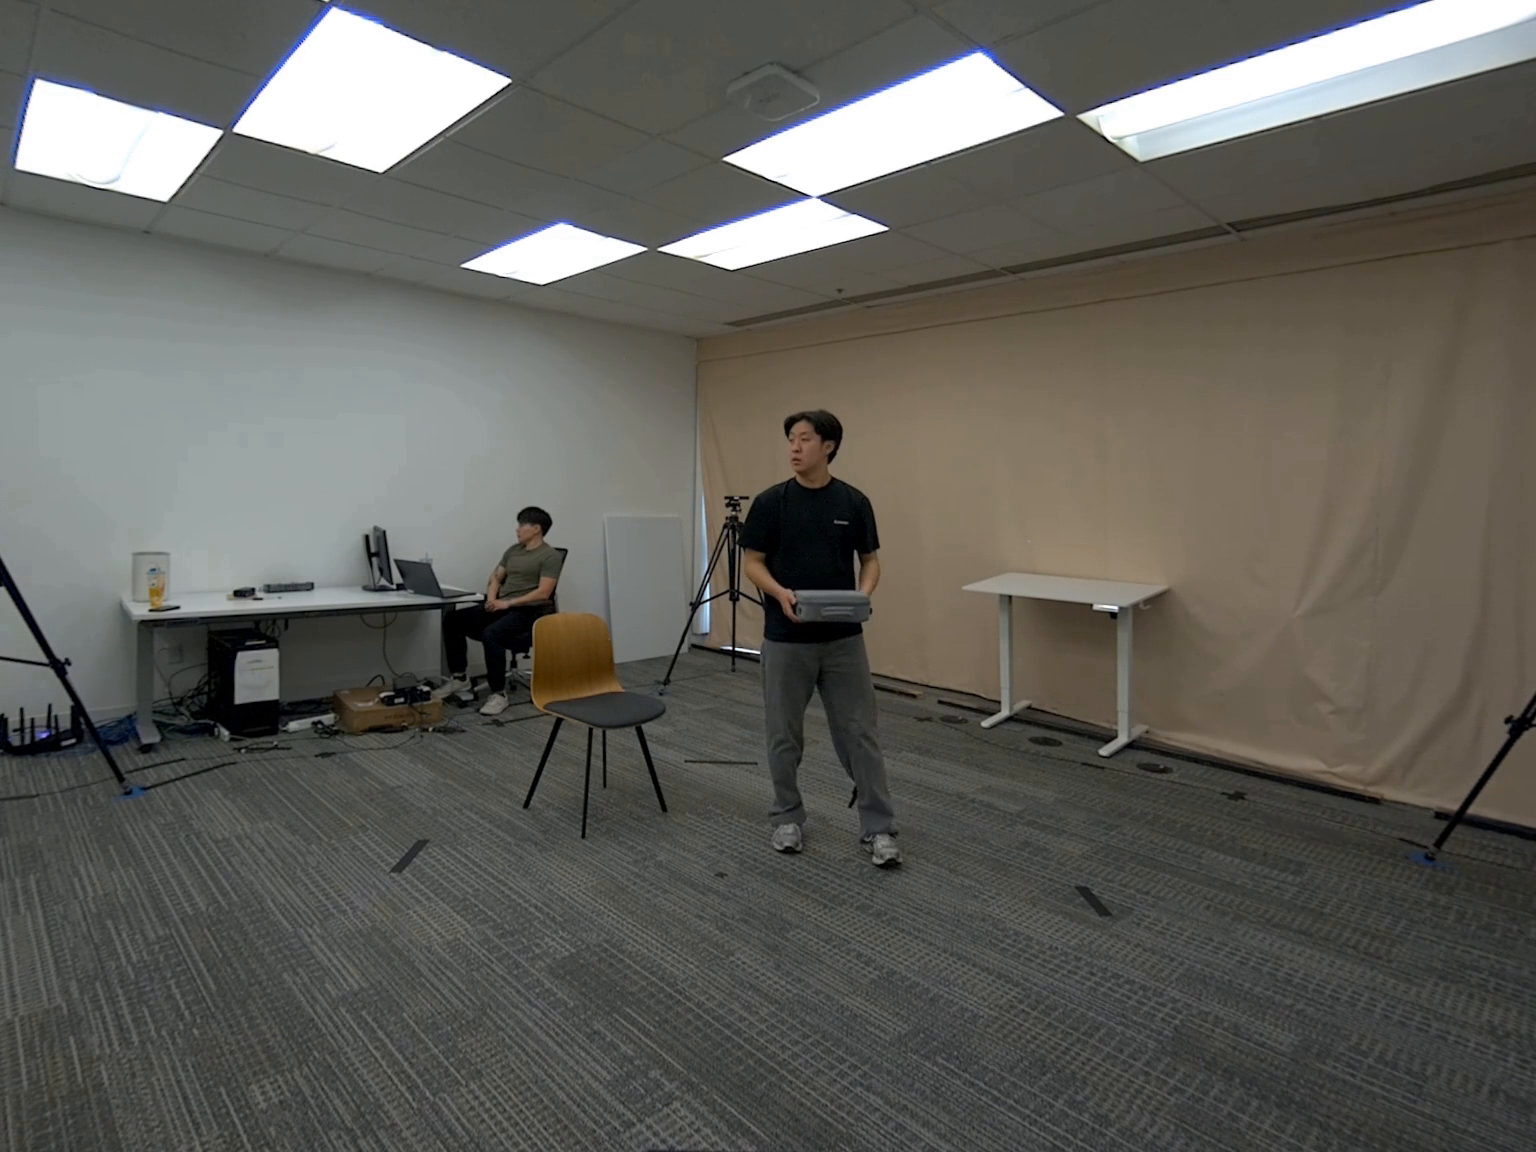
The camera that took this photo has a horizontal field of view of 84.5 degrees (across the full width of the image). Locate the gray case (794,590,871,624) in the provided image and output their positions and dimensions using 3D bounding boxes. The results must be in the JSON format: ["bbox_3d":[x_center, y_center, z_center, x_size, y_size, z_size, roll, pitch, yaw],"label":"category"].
[{"bbox_3d":[0.227,0.108,3.101,0.263,0.103,0.288,-2,3,-3],"label":"gray case"}]
